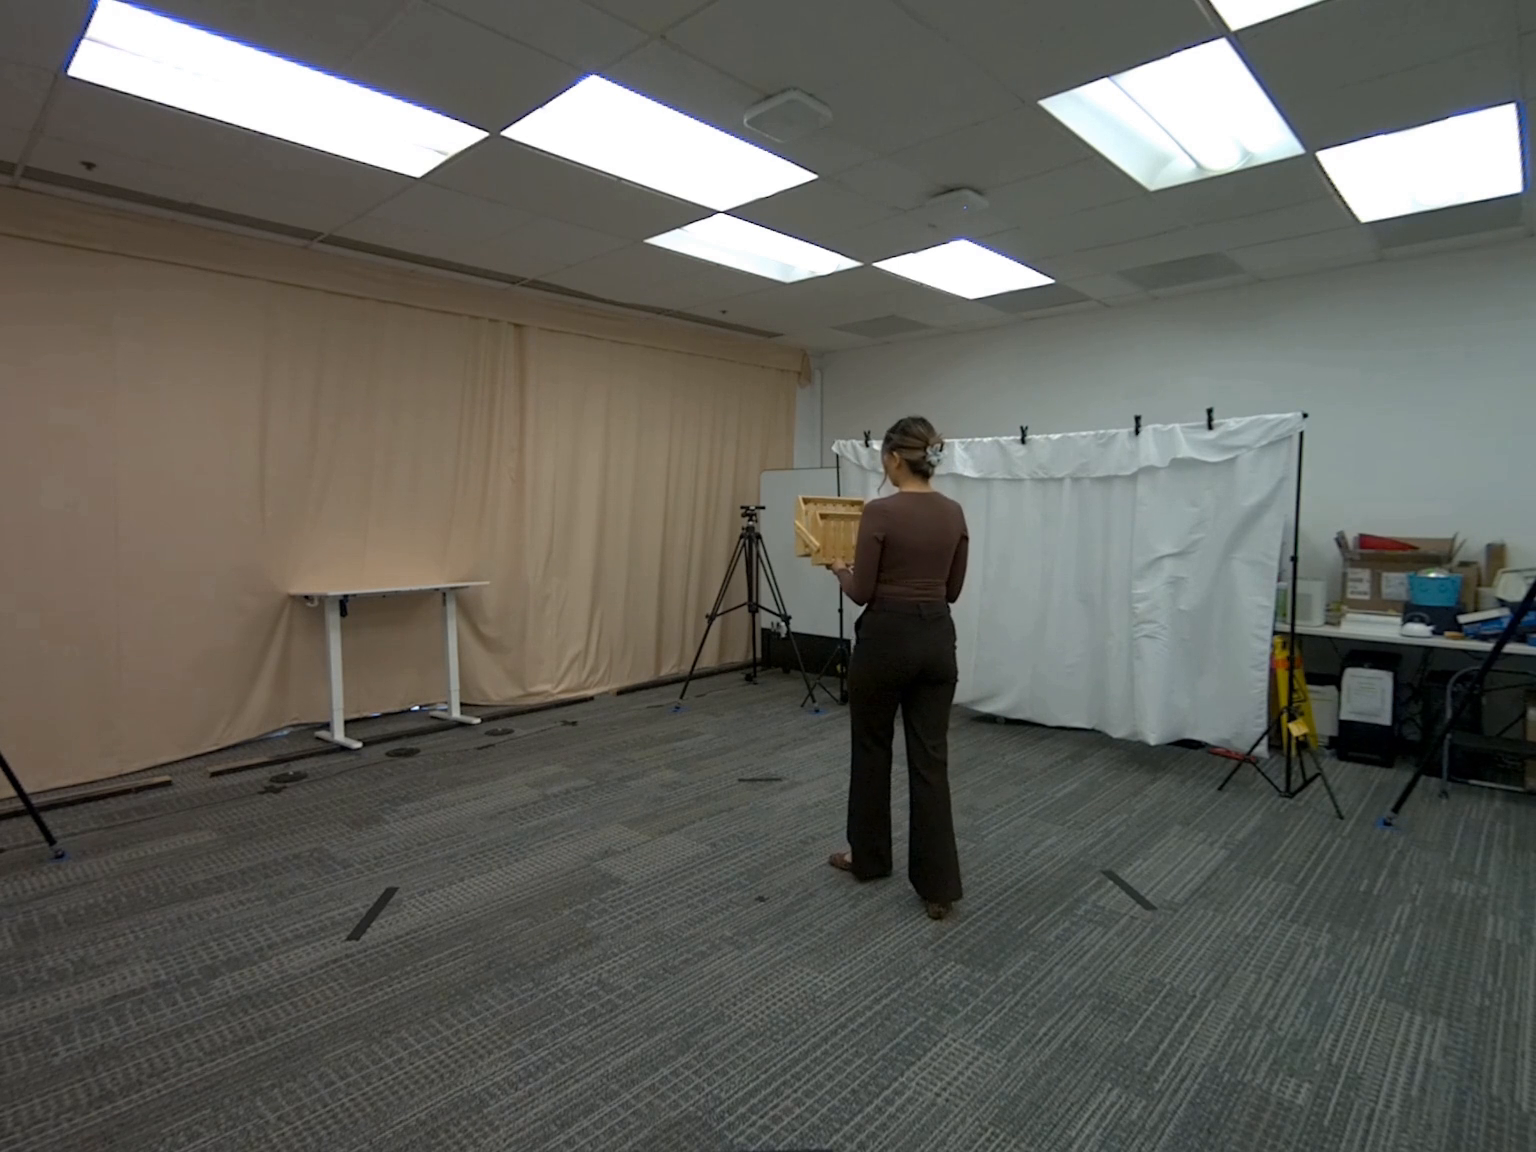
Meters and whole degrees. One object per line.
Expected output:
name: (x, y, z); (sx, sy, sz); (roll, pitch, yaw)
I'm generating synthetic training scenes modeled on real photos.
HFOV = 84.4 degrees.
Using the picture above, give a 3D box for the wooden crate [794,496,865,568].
wooden crate: (0.303, -0.189, 3.387); (0.319, 0.303, 0.277); (0, -6, -16)
